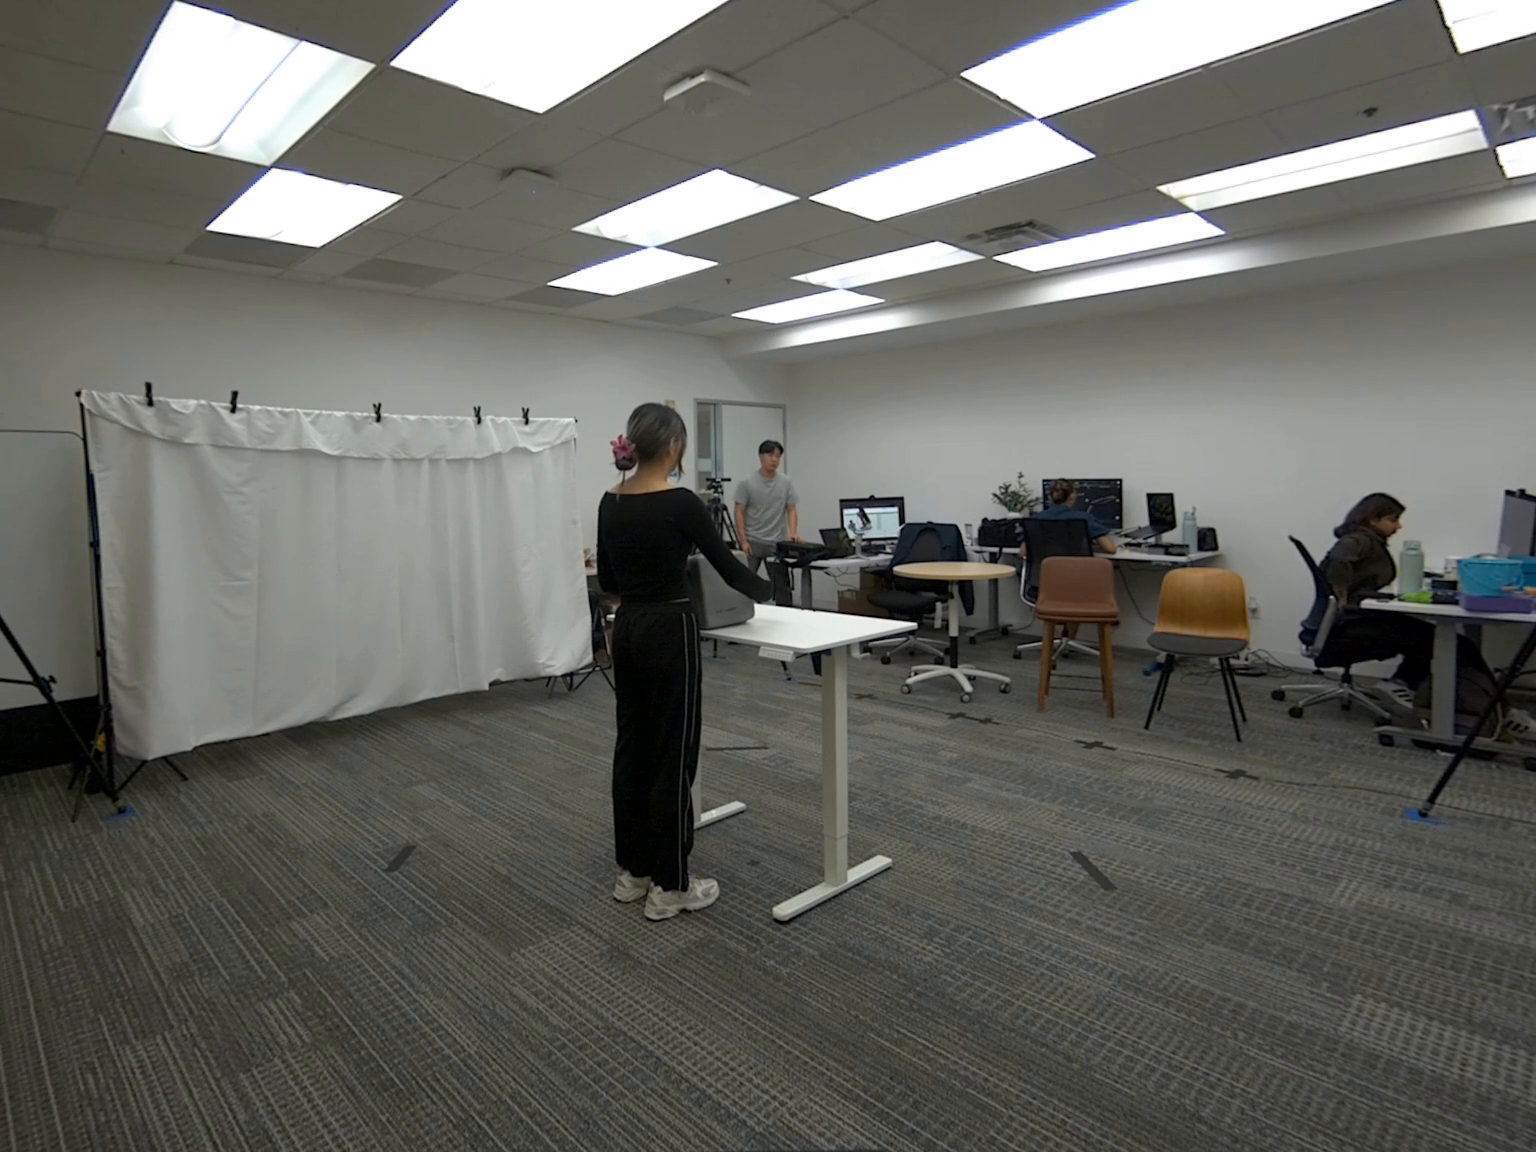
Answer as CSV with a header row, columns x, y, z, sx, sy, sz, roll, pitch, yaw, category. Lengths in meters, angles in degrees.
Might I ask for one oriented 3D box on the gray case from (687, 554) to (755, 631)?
x,y,z,sx,sy,sz,roll,pitch,yaw,category
-0.173,0.046,2.984,0.107,0.261,0.250,-10,-2,43,gray case
